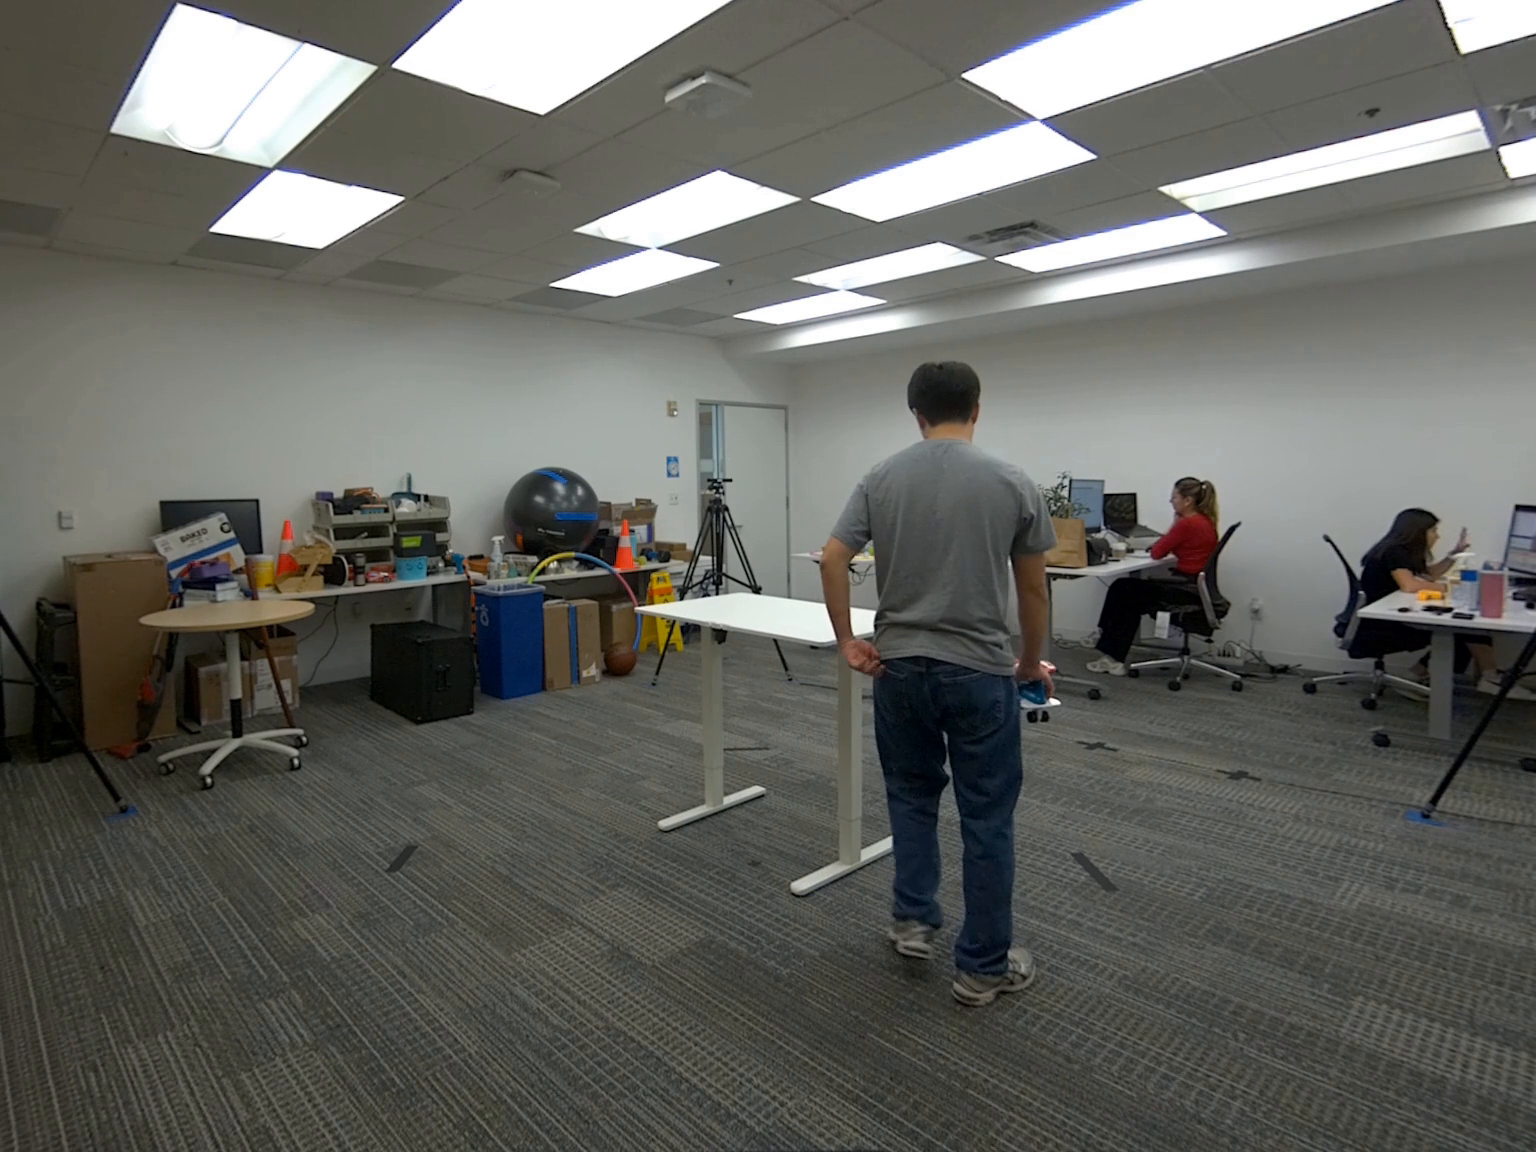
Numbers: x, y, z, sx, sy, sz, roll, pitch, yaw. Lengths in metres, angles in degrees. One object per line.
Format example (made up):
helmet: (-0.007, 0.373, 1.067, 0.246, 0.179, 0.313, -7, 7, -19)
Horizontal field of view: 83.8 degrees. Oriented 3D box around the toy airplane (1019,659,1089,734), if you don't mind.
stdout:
toy airplane: (0.764, 0.347, 2.568, 0.245, 0.156, 0.266, -7, 4, -39)
